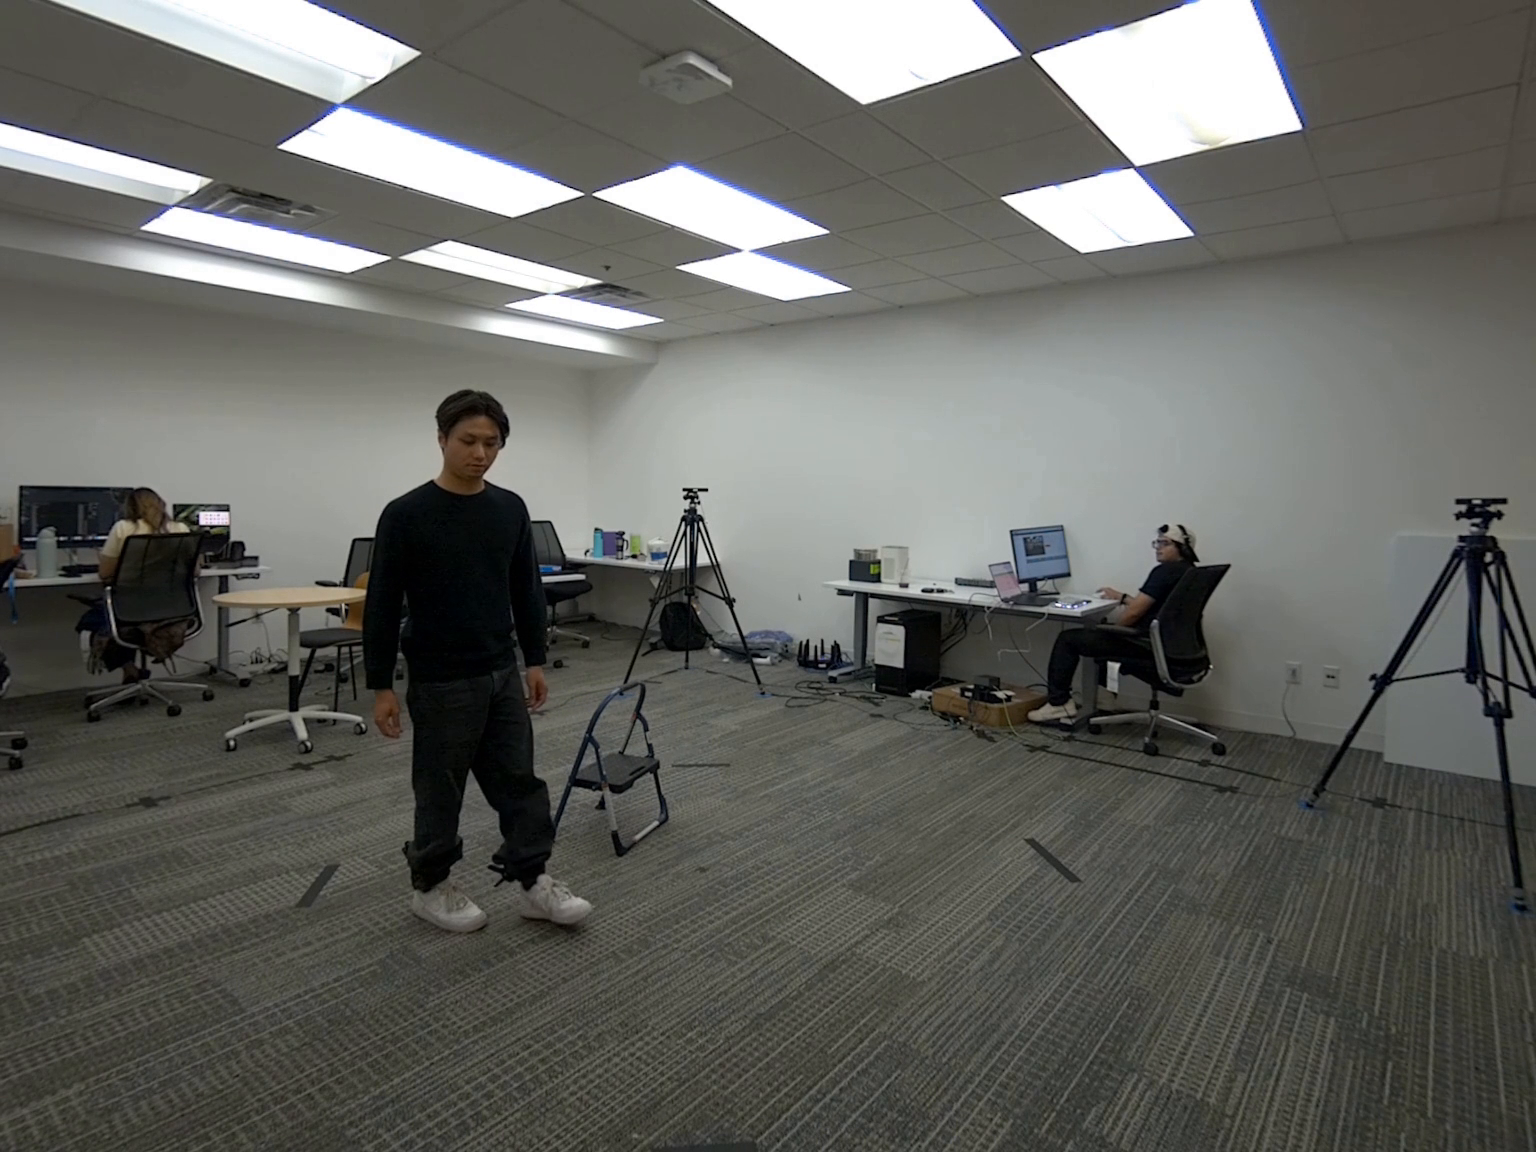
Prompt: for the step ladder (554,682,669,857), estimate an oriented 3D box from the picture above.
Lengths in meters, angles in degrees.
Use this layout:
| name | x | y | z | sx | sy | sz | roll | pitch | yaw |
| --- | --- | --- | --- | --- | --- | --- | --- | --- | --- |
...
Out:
| name | x | y | z | sx | sy | sz | roll | pitch | yaw |
| --- | --- | --- | --- | --- | --- | --- | --- | --- | --- |
| step ladder | -0.653 | 0.728 | 3.434 | 0.357 | 0.604 | 0.423 | 1 | 4 | 20 |
